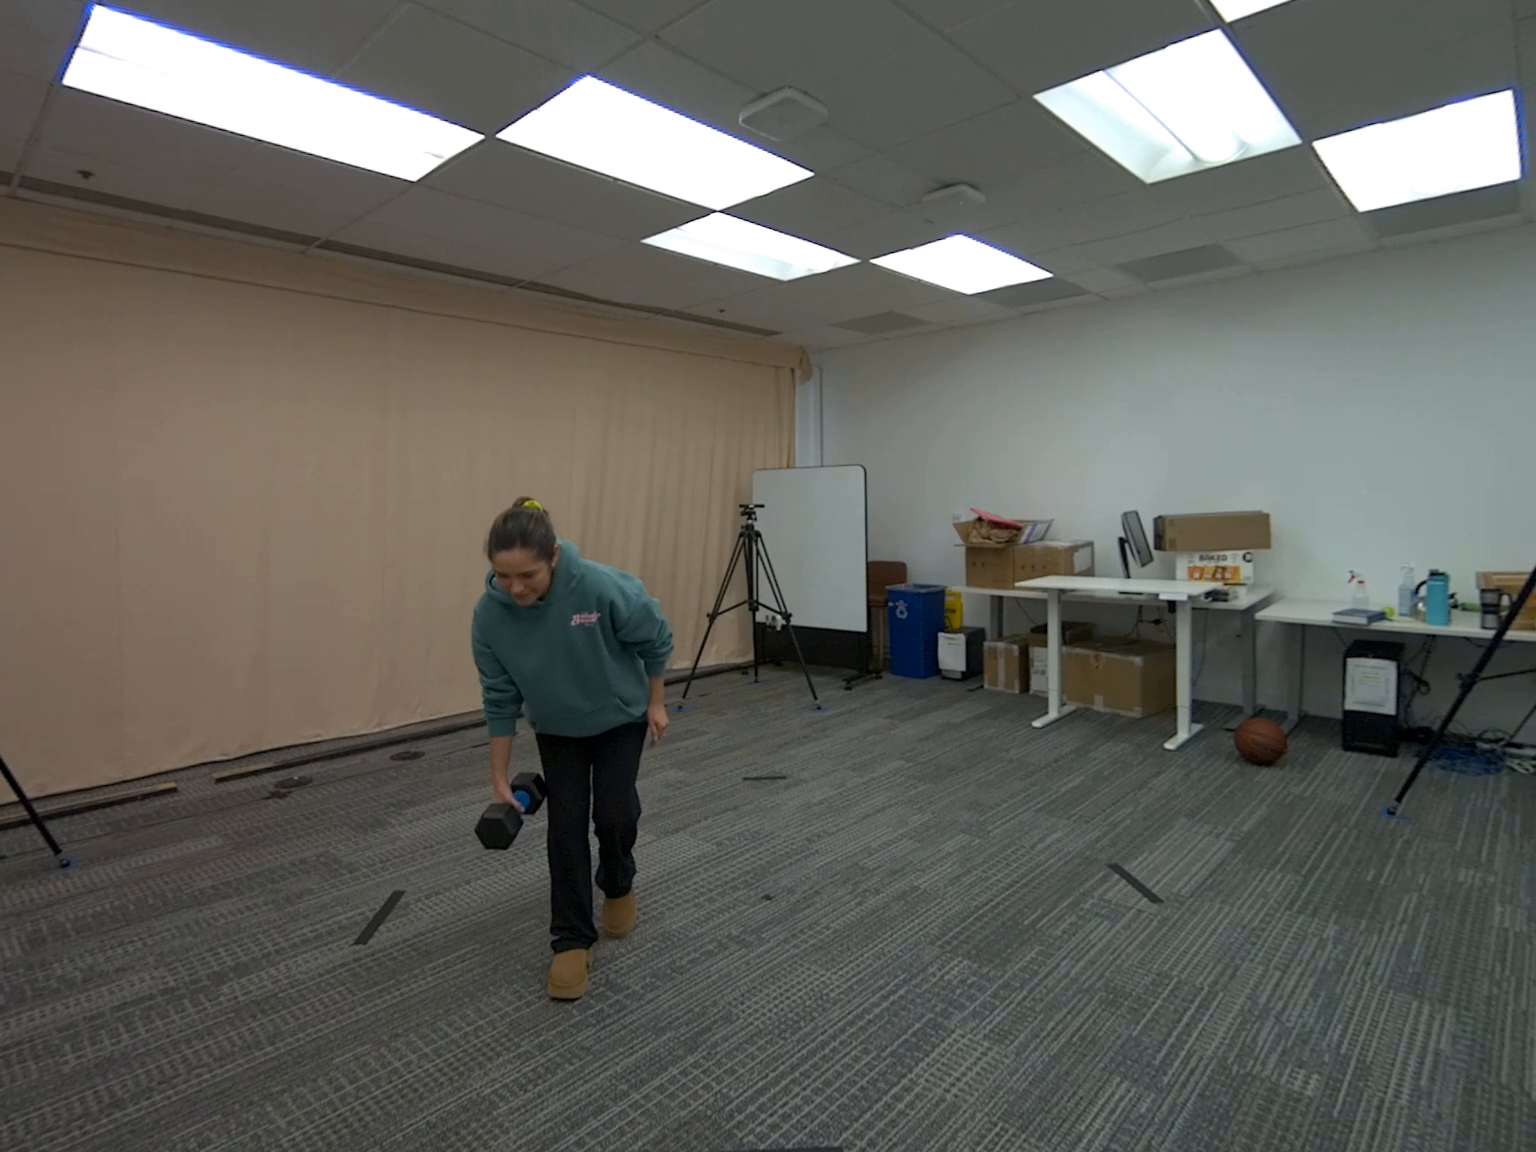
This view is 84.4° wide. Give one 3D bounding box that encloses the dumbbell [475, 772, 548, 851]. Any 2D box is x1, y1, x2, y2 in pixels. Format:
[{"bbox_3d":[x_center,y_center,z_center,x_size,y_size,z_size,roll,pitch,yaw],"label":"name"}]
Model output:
[{"bbox_3d":[-0.731,0.672,2.414,0.109,0.122,0.293,-31,5,7],"label":"dumbbell"}]
